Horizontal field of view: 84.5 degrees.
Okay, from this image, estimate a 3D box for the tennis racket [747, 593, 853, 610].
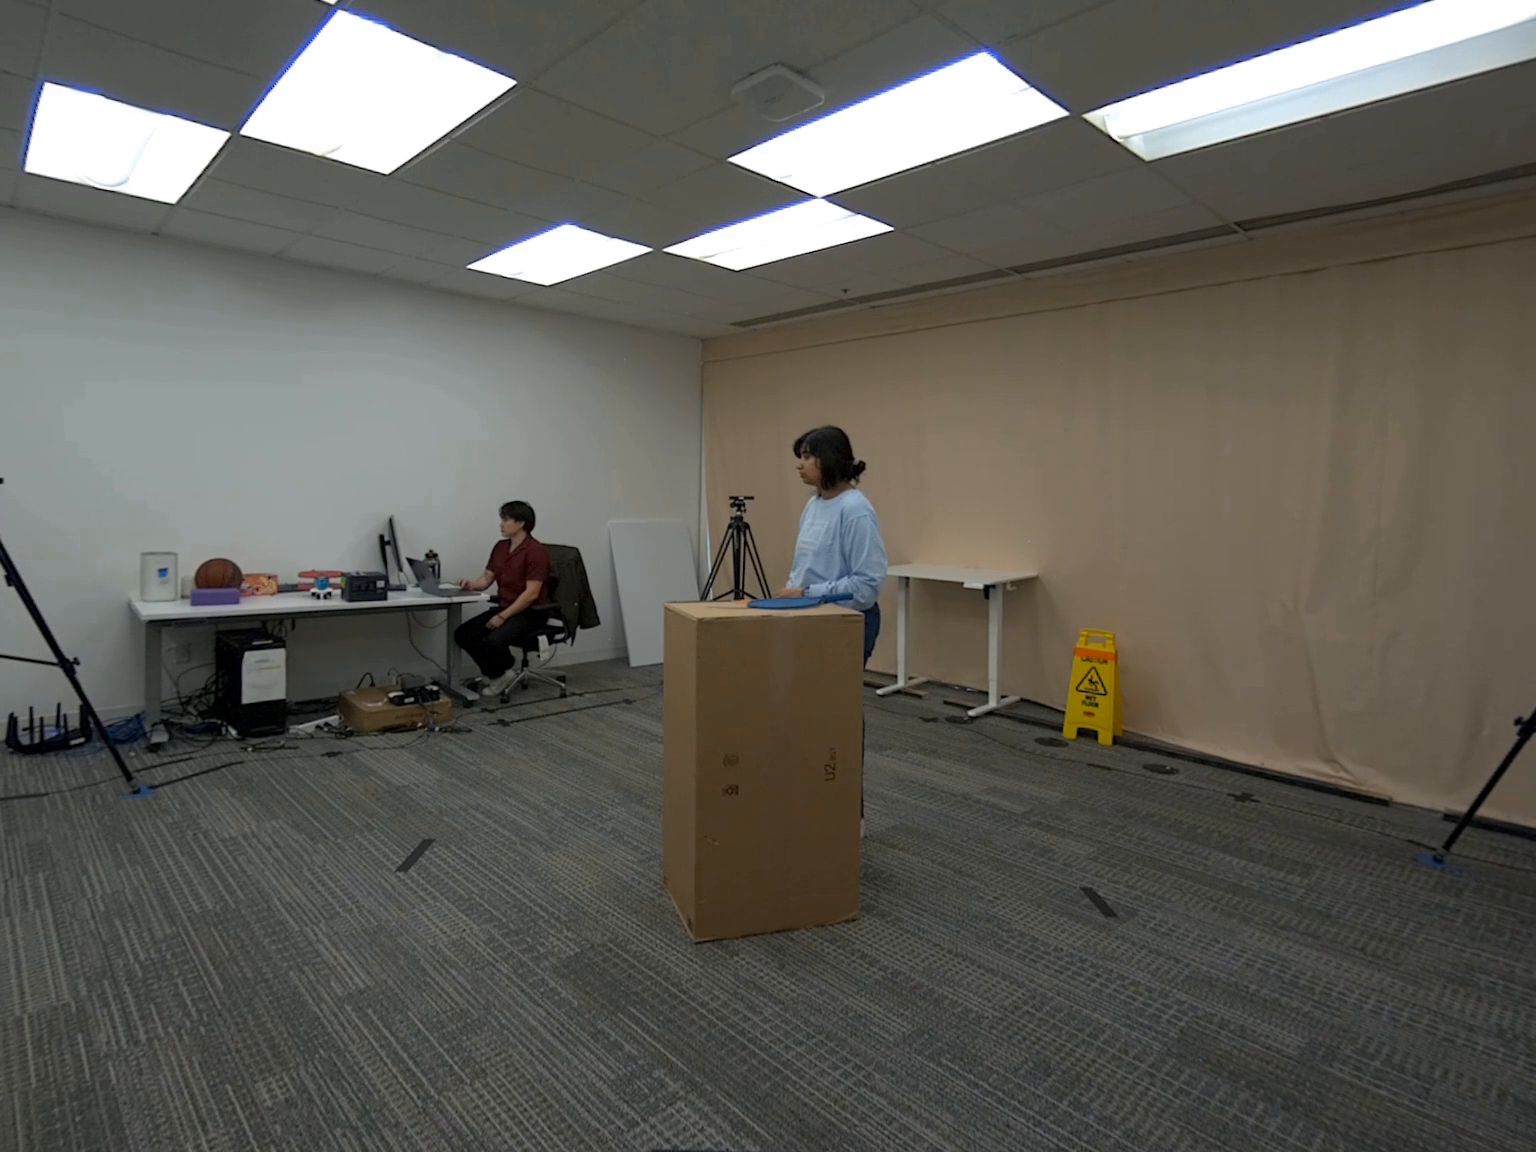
[{"bbox_3d":[0.111,0.094,2.954,0.424,0.031,0.219,-4,6,-34],"label":"tennis racket"}]
